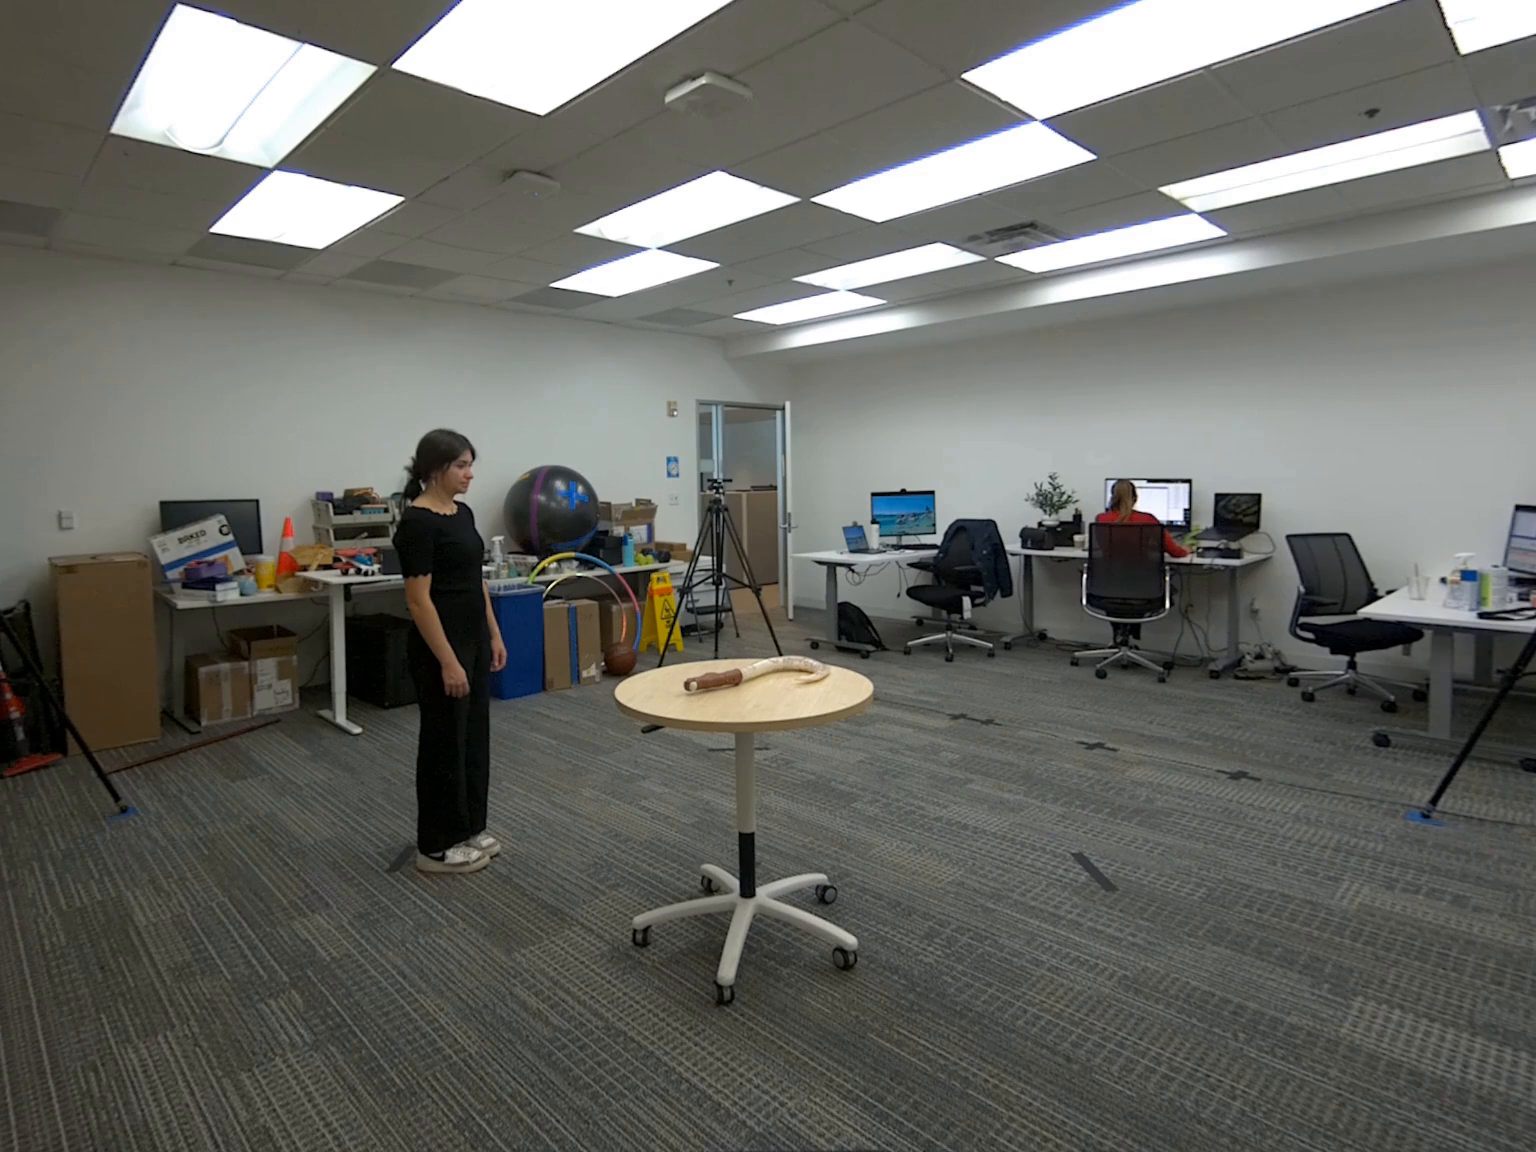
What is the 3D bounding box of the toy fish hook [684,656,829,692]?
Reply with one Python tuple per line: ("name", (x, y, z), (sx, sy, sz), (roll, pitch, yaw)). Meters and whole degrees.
("toy fish hook", (-0.016, 0.303, 2.566), (0.493, 0.048, 0.231), (-5, 4, -39))
